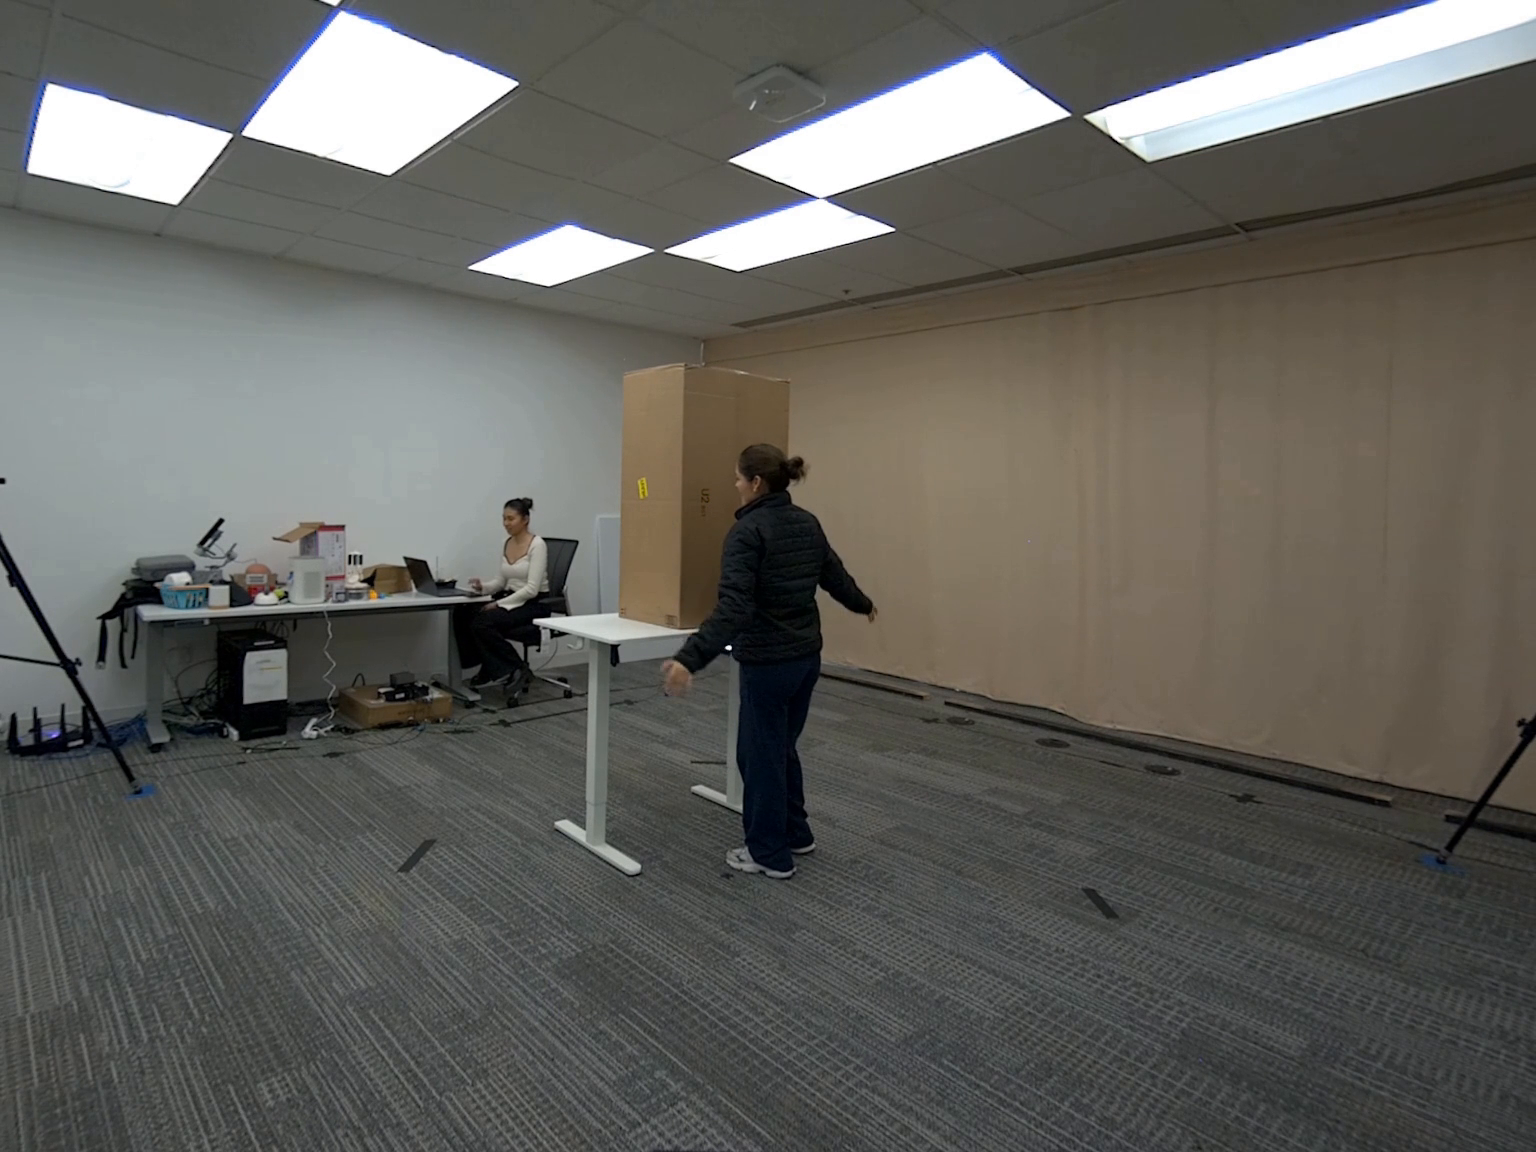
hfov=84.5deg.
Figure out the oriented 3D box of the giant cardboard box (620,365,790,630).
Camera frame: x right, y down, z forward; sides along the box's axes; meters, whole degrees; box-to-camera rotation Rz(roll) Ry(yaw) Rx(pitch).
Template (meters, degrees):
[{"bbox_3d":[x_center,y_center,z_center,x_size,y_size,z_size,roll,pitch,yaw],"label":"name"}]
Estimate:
[{"bbox_3d":[-0.273,-0.327,3.549,0.570,1.025,0.458,-1,3,-41],"label":"giant cardboard box"}]
